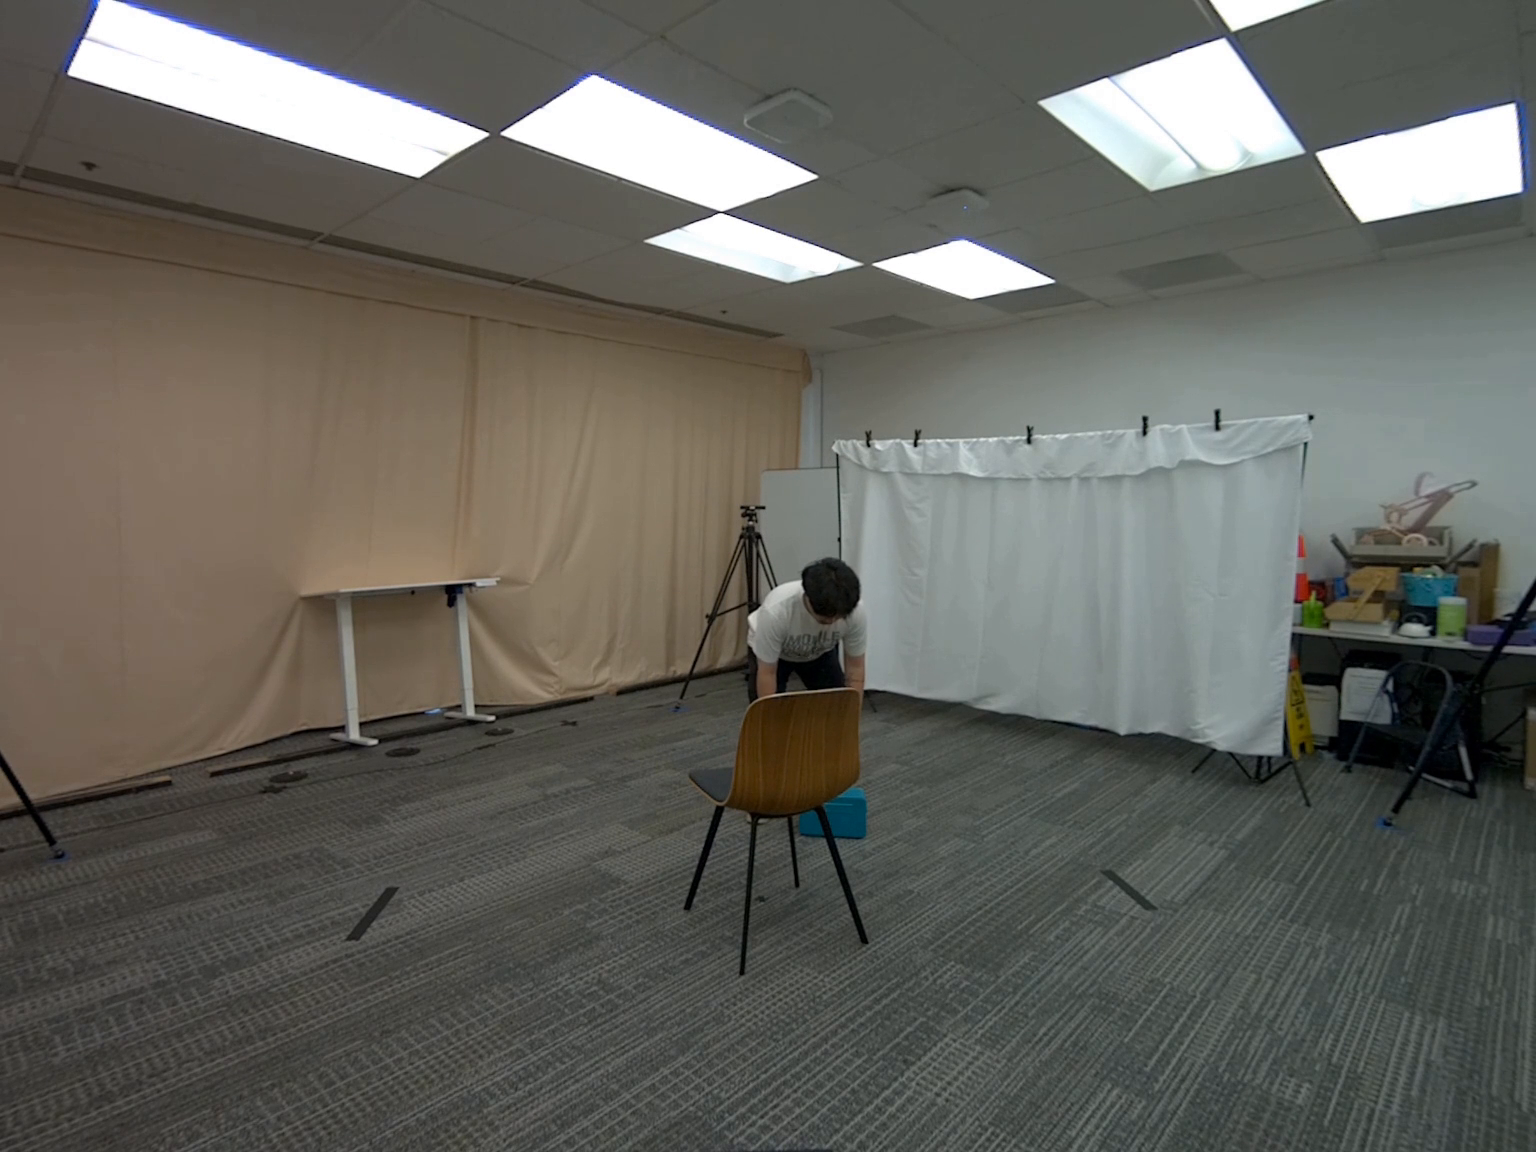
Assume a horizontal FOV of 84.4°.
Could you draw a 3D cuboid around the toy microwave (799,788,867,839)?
[{"bbox_3d":[0.276,1.000,3.591,0.289,0.183,0.151,1,6,7],"label":"toy microwave"}]
